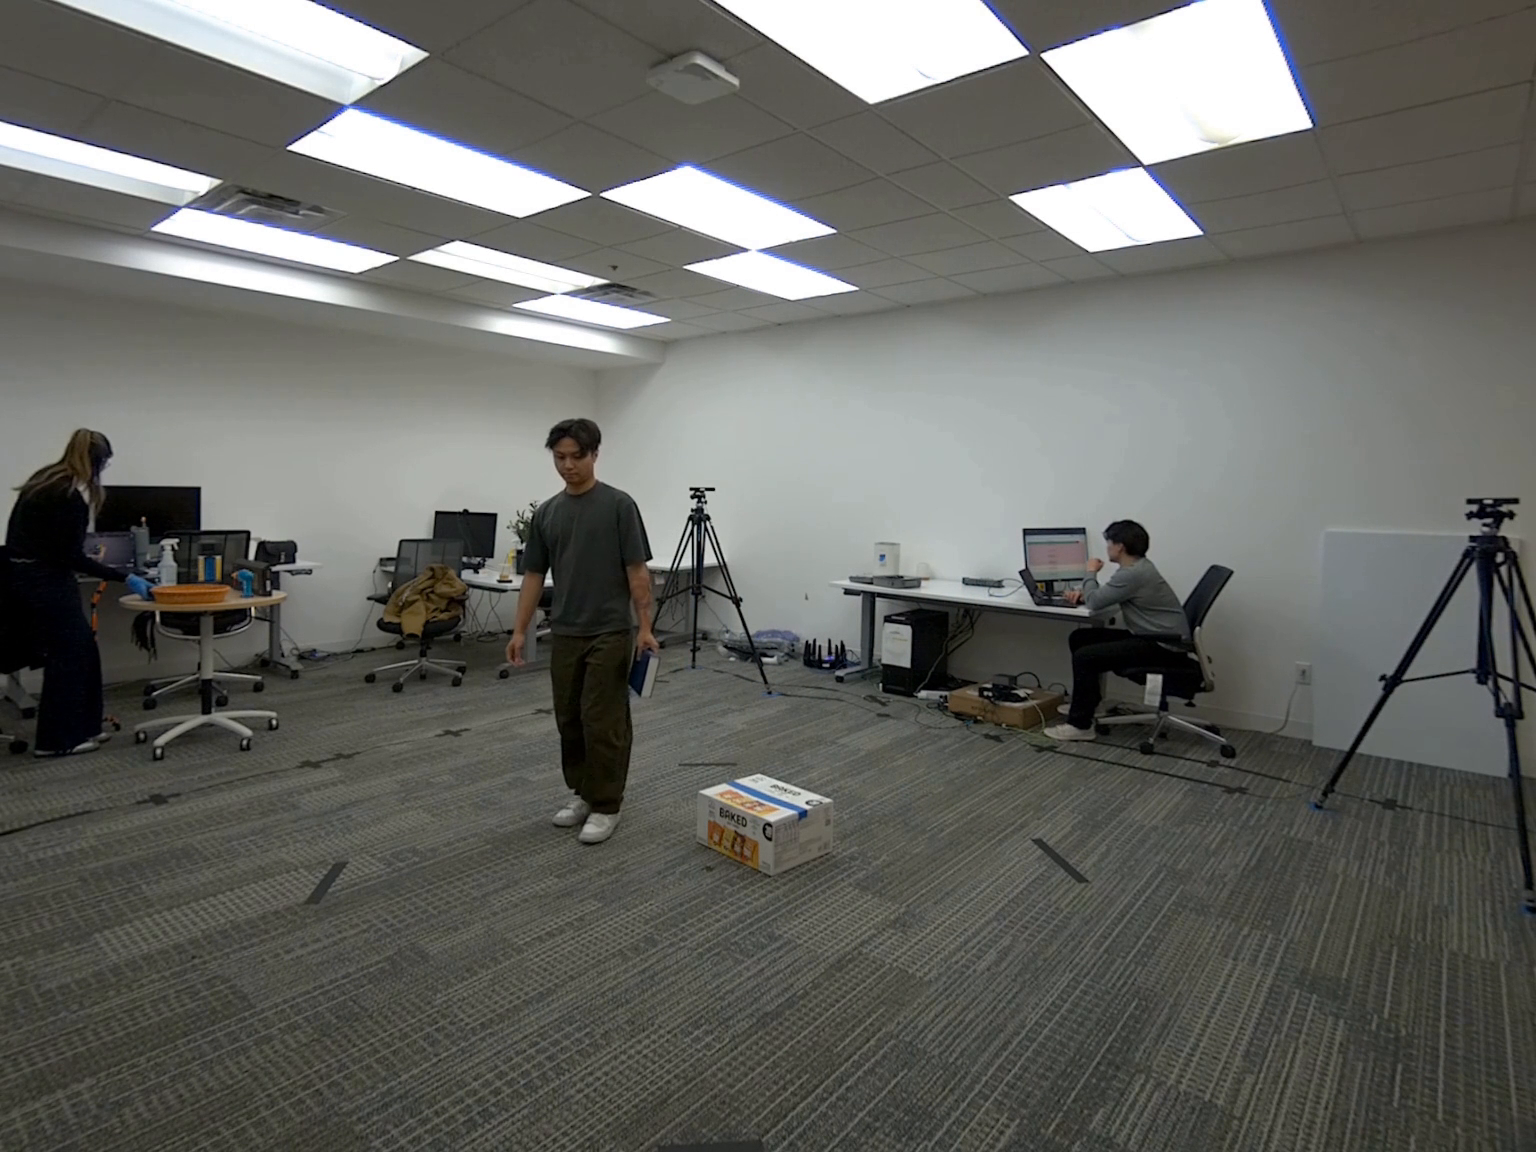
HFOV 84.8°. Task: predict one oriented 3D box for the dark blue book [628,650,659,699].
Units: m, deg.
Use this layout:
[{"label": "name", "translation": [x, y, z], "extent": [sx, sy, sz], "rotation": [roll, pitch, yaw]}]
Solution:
[{"label": "dark blue book", "translation": [-0.503, 0.373, 3.362], "extent": [0.044, 0.163, 0.251], "rotation": [8, 2, -20]}]
